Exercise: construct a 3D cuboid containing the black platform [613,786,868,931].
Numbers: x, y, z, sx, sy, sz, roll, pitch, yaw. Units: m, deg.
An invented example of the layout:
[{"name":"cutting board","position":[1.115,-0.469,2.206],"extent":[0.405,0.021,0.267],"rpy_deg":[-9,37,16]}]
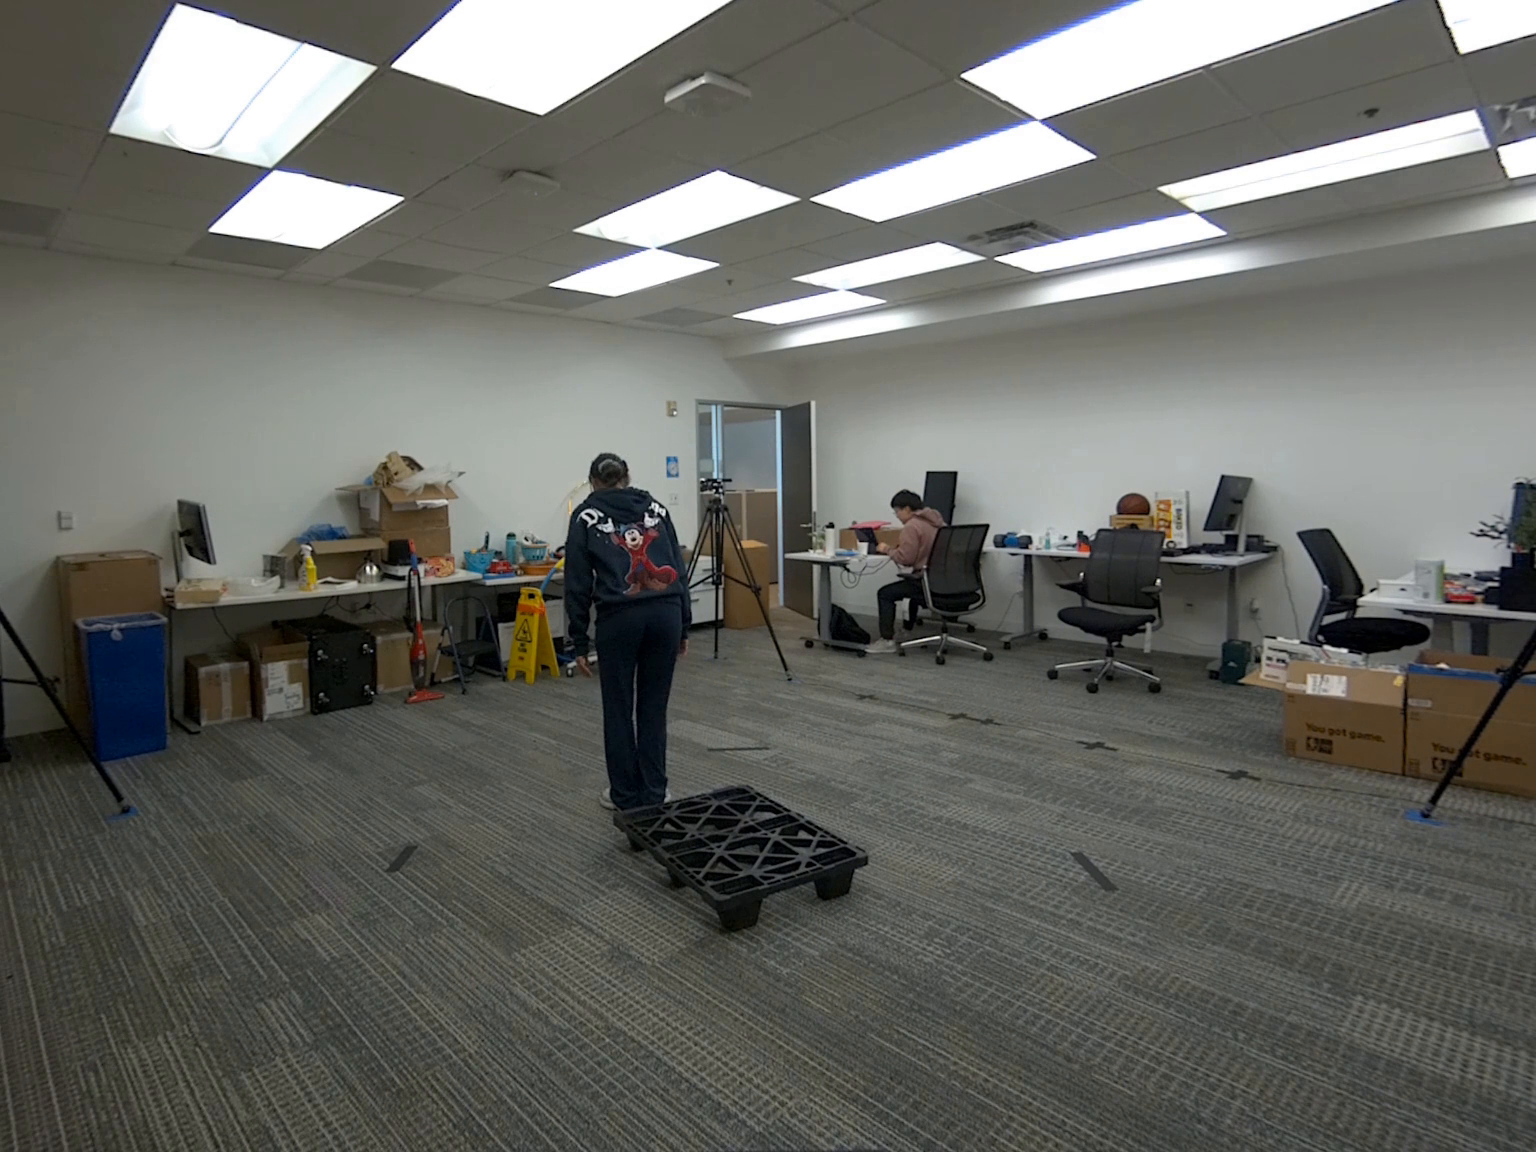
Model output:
[{"name":"black platform","position":[-0.120,0.985,3.051],"extent":[0.591,0.142,0.829],"rpy_deg":[-6,8,-32]}]
